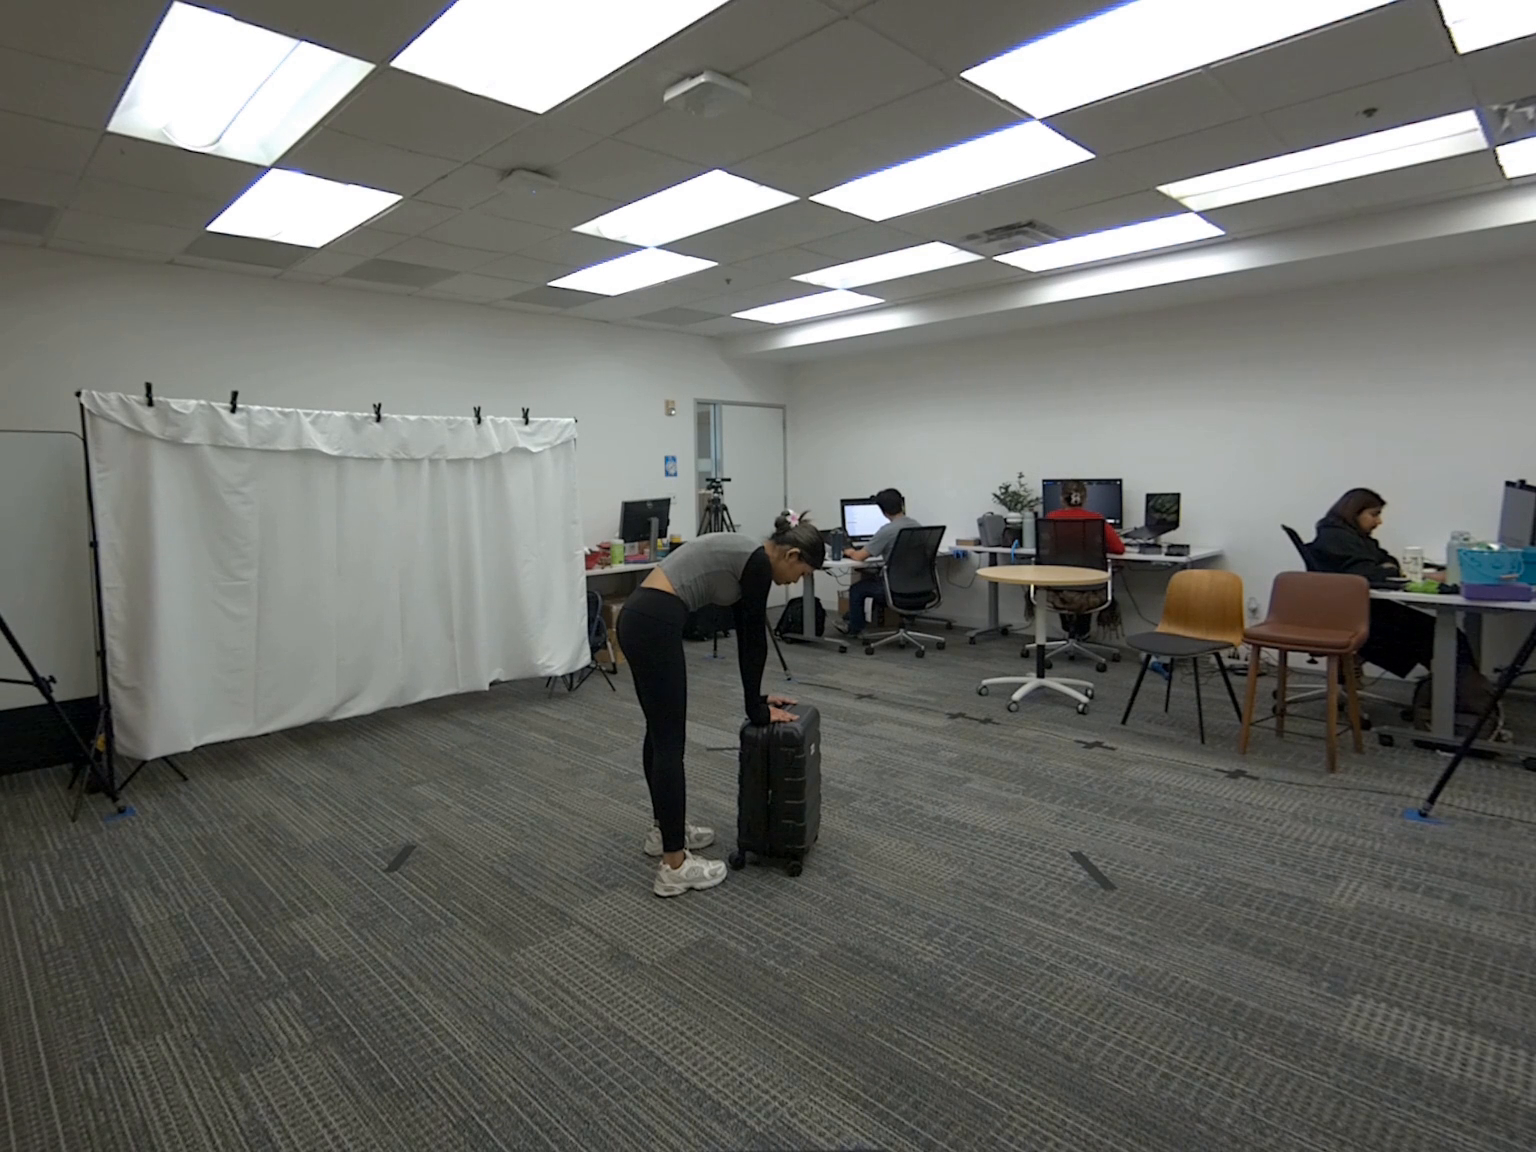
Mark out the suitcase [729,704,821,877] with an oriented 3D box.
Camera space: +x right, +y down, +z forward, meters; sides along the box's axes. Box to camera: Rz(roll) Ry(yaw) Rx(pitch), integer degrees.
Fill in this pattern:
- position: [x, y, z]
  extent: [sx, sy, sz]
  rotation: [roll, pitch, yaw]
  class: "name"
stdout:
- position: [0.044, 0.759, 3.169]
  extent: [0.253, 0.547, 0.370]
  rotation: [2, 5, 16]
  class: "suitcase"
